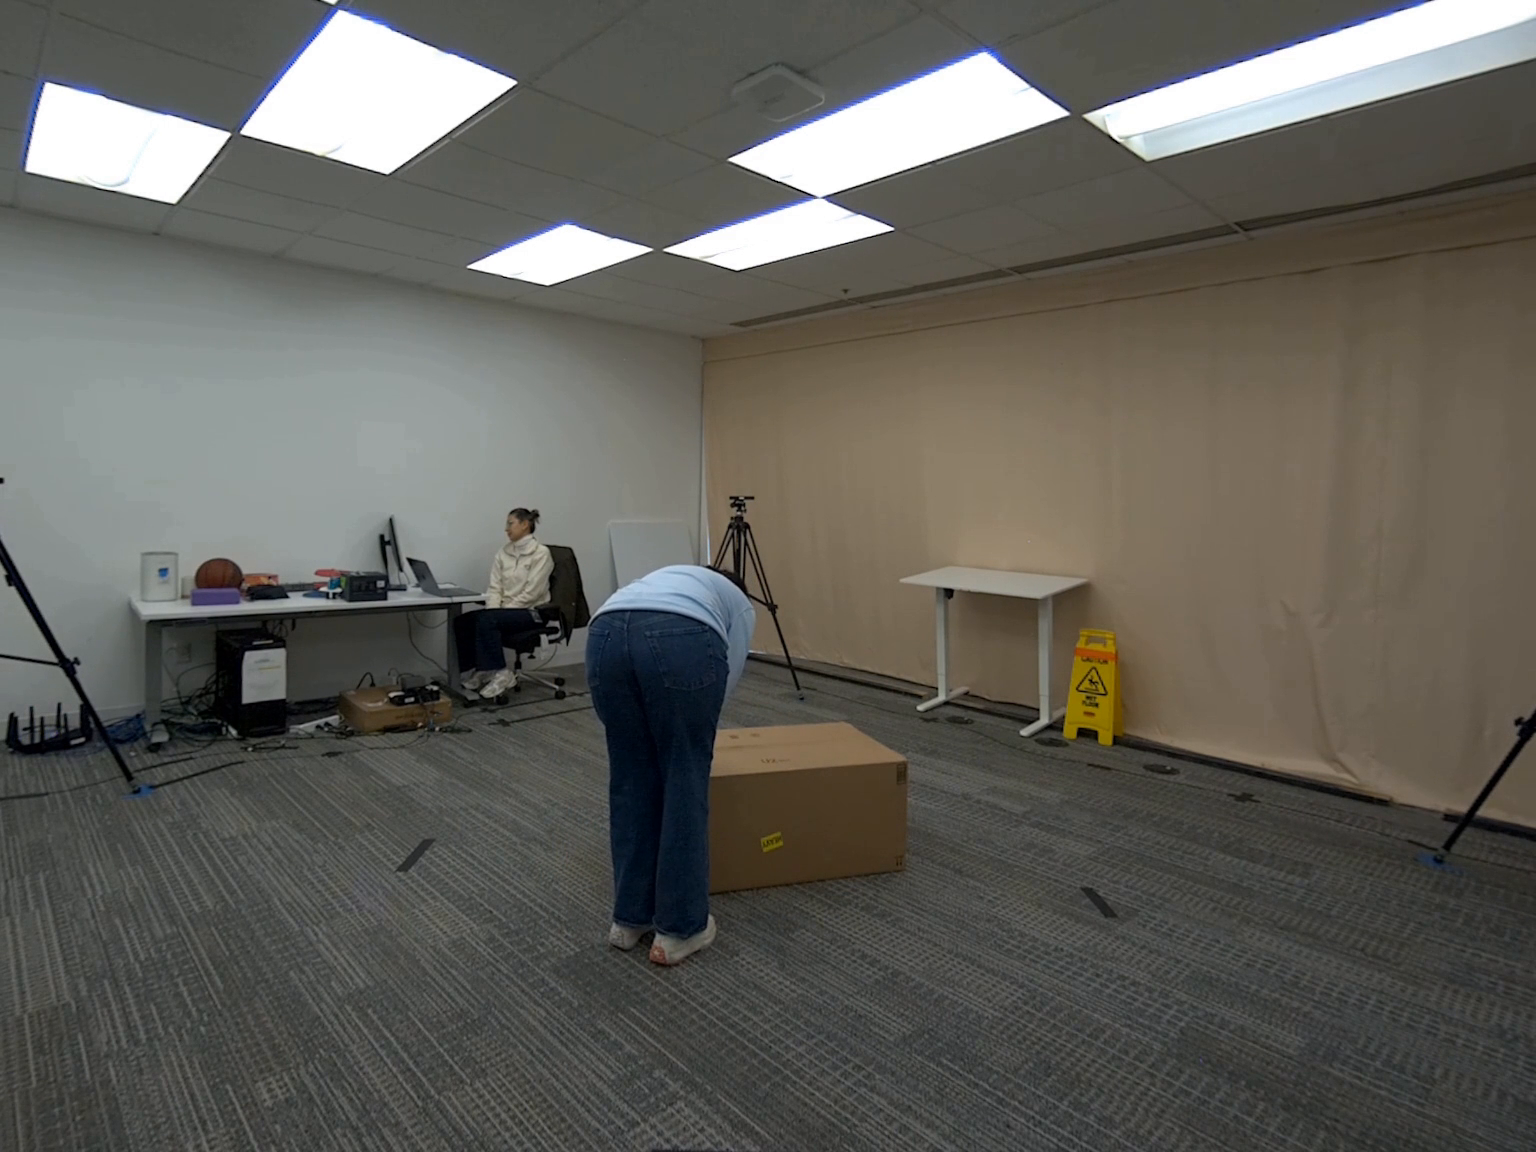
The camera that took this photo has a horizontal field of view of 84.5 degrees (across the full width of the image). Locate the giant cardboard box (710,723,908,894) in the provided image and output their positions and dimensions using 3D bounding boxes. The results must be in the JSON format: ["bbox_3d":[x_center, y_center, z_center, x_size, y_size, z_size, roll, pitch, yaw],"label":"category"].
[{"bbox_3d":[-0.057,0.877,3.286,1.011,0.425,0.587,0,4,-18],"label":"giant cardboard box"}]
